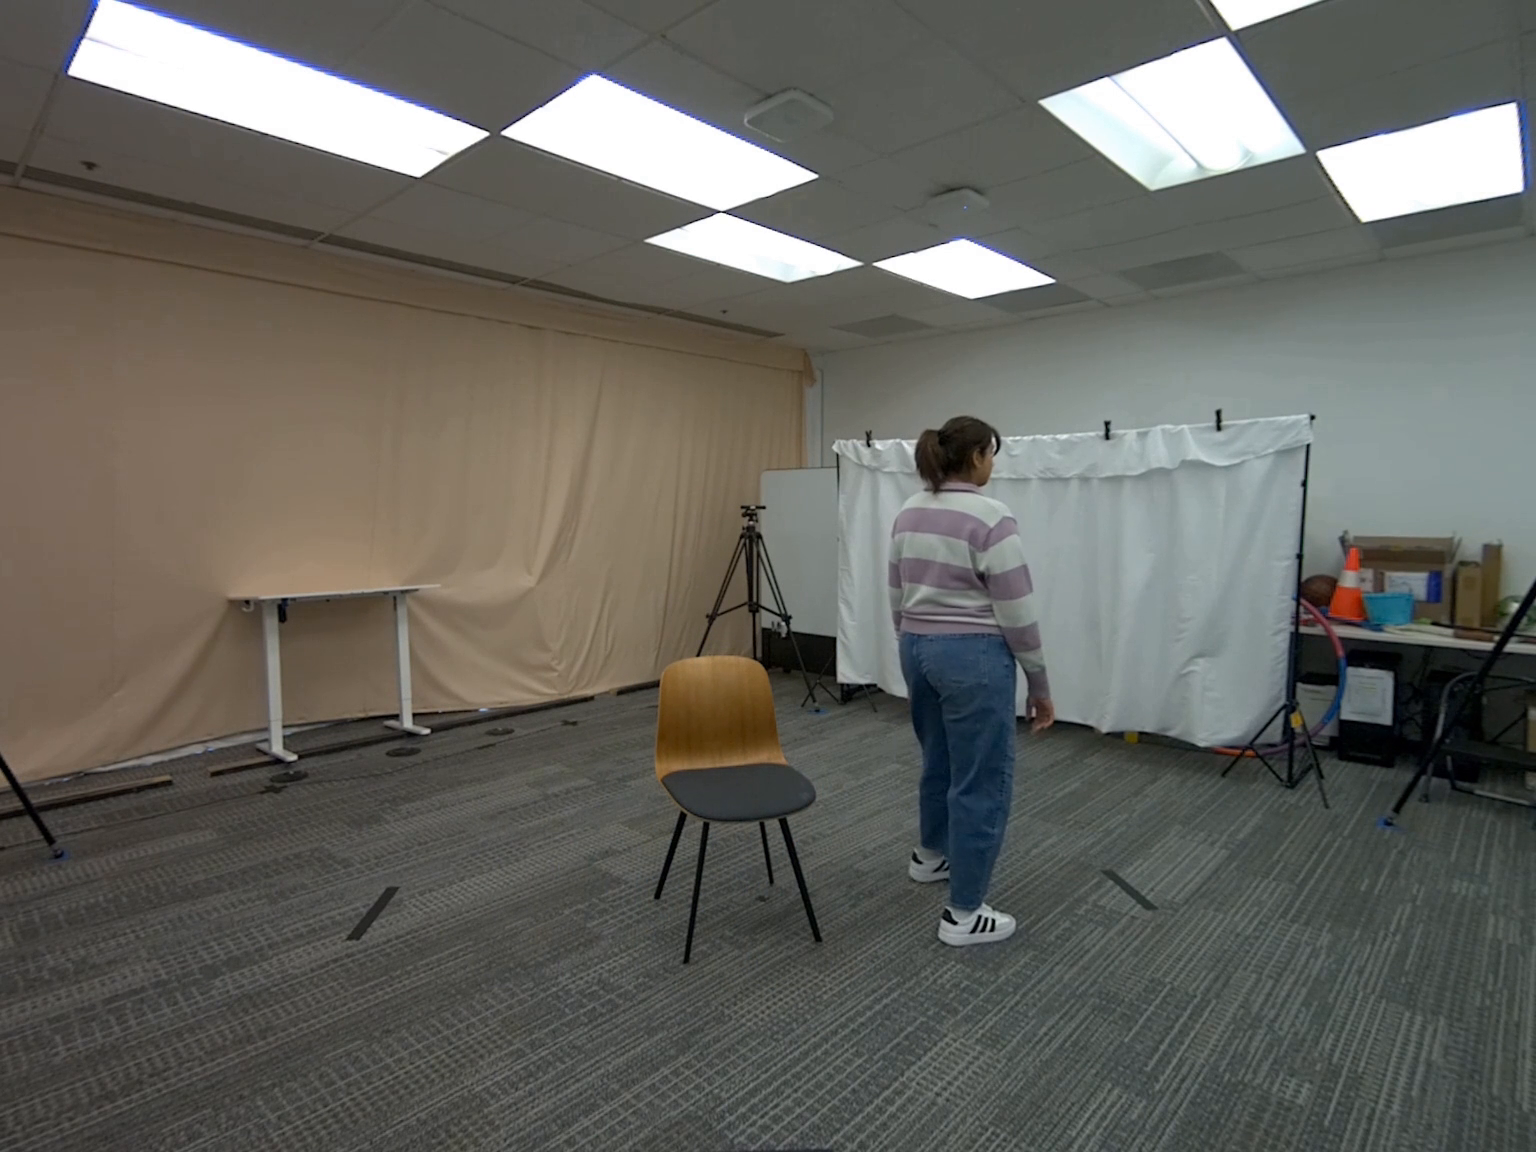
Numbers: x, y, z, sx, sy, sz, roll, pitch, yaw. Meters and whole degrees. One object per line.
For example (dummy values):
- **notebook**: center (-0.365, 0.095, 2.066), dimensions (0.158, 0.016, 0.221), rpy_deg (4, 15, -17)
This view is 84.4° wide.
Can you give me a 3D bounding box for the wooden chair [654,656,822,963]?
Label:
- **wooden chair**: center (-0.107, 0.737, 2.800), dimensions (0.469, 0.878, 0.532), rpy_deg (-1, -1, -18)
